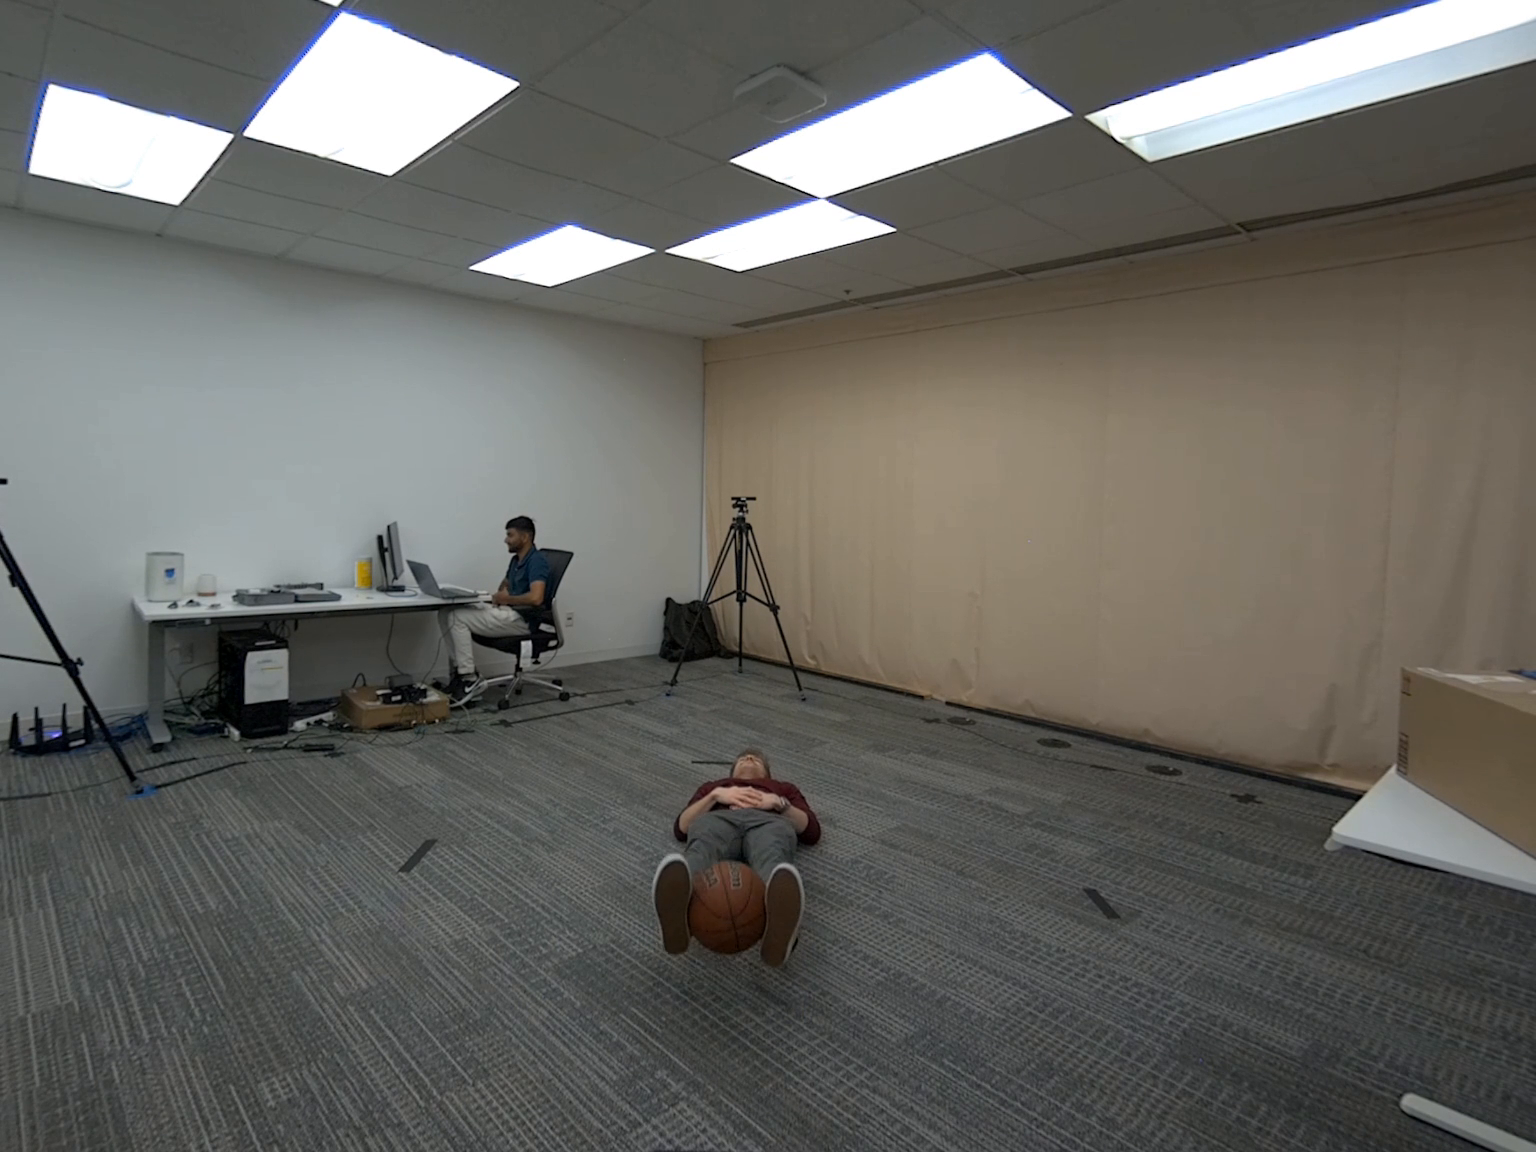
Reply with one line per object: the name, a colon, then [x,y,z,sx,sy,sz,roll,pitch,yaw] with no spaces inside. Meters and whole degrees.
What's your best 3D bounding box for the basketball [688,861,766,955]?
basketball: [-0.119,0.907,2.340,0.236,0.234,0.237,0,7,-1]
